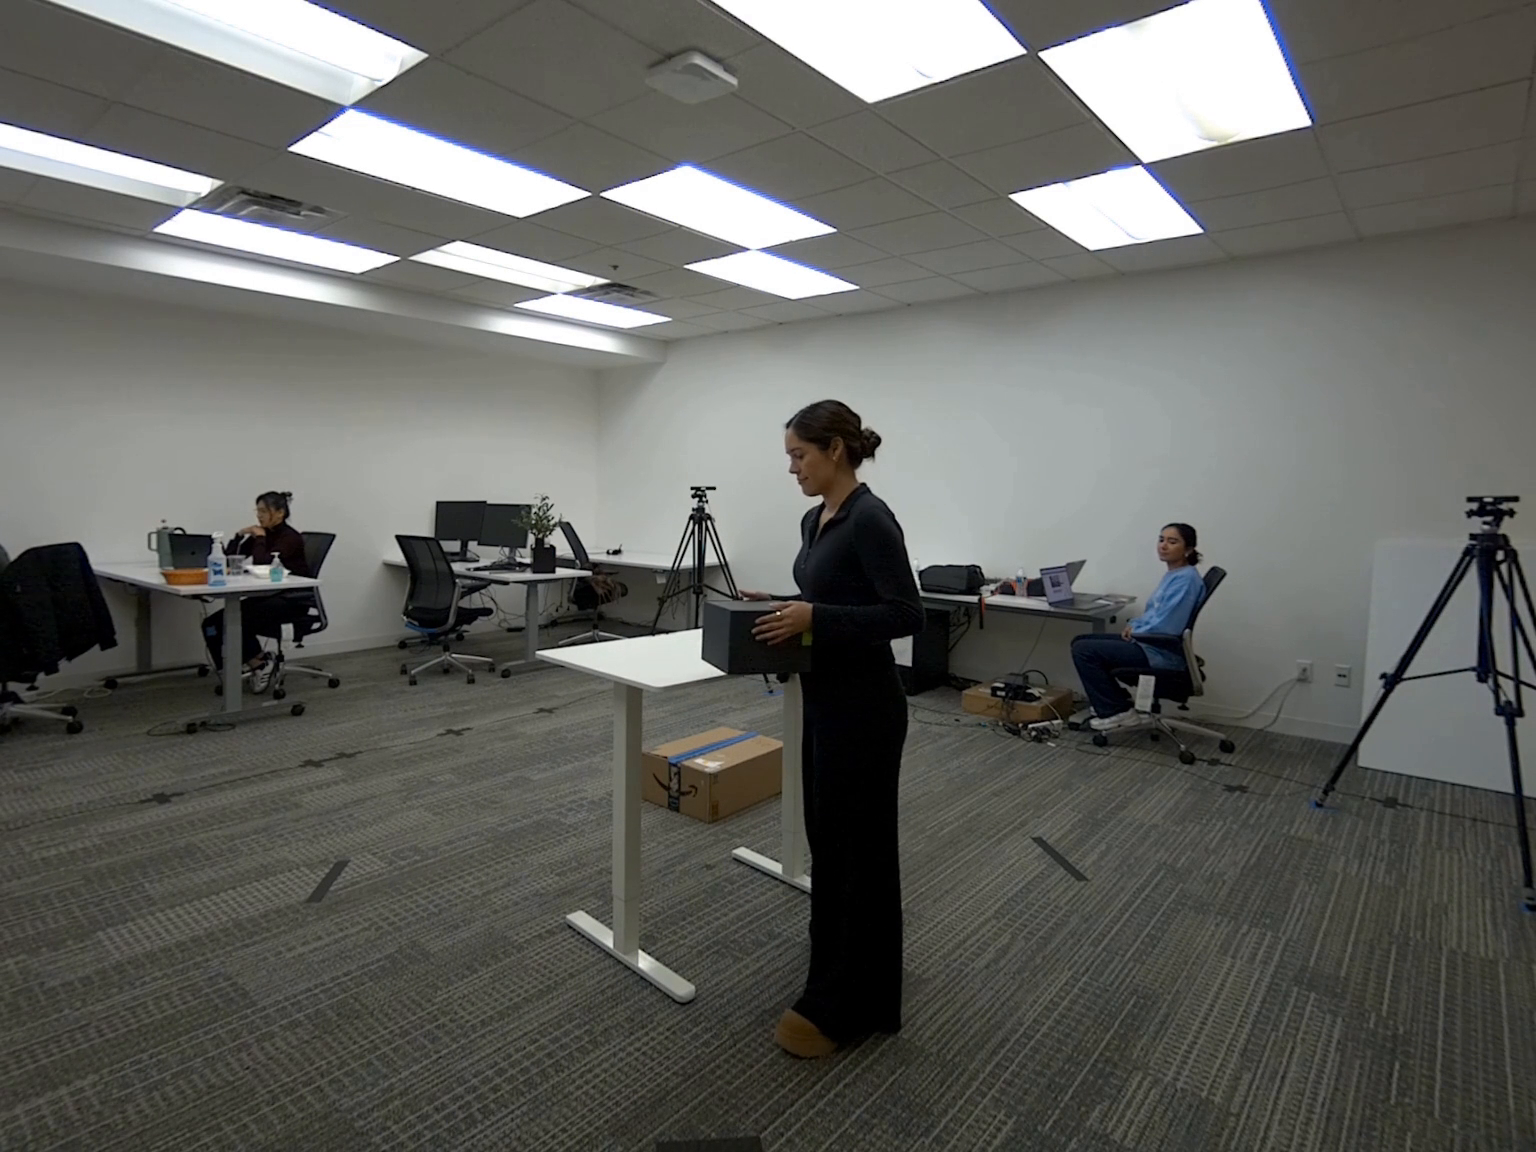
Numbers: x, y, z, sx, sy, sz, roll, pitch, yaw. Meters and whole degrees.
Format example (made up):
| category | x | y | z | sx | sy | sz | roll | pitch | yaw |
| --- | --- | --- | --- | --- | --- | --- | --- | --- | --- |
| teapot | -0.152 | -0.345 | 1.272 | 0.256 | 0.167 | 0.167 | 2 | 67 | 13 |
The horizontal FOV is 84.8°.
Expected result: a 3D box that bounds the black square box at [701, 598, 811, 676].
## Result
| category | x | y | z | sx | sy | sz | roll | pitch | yaw |
| --- | --- | --- | --- | --- | --- | --- | --- | --- | --- |
| black square box | -0.034 | 0.145 | 2.152 | 0.213 | 0.156 | 0.233 | 1 | 3 | -19 |
